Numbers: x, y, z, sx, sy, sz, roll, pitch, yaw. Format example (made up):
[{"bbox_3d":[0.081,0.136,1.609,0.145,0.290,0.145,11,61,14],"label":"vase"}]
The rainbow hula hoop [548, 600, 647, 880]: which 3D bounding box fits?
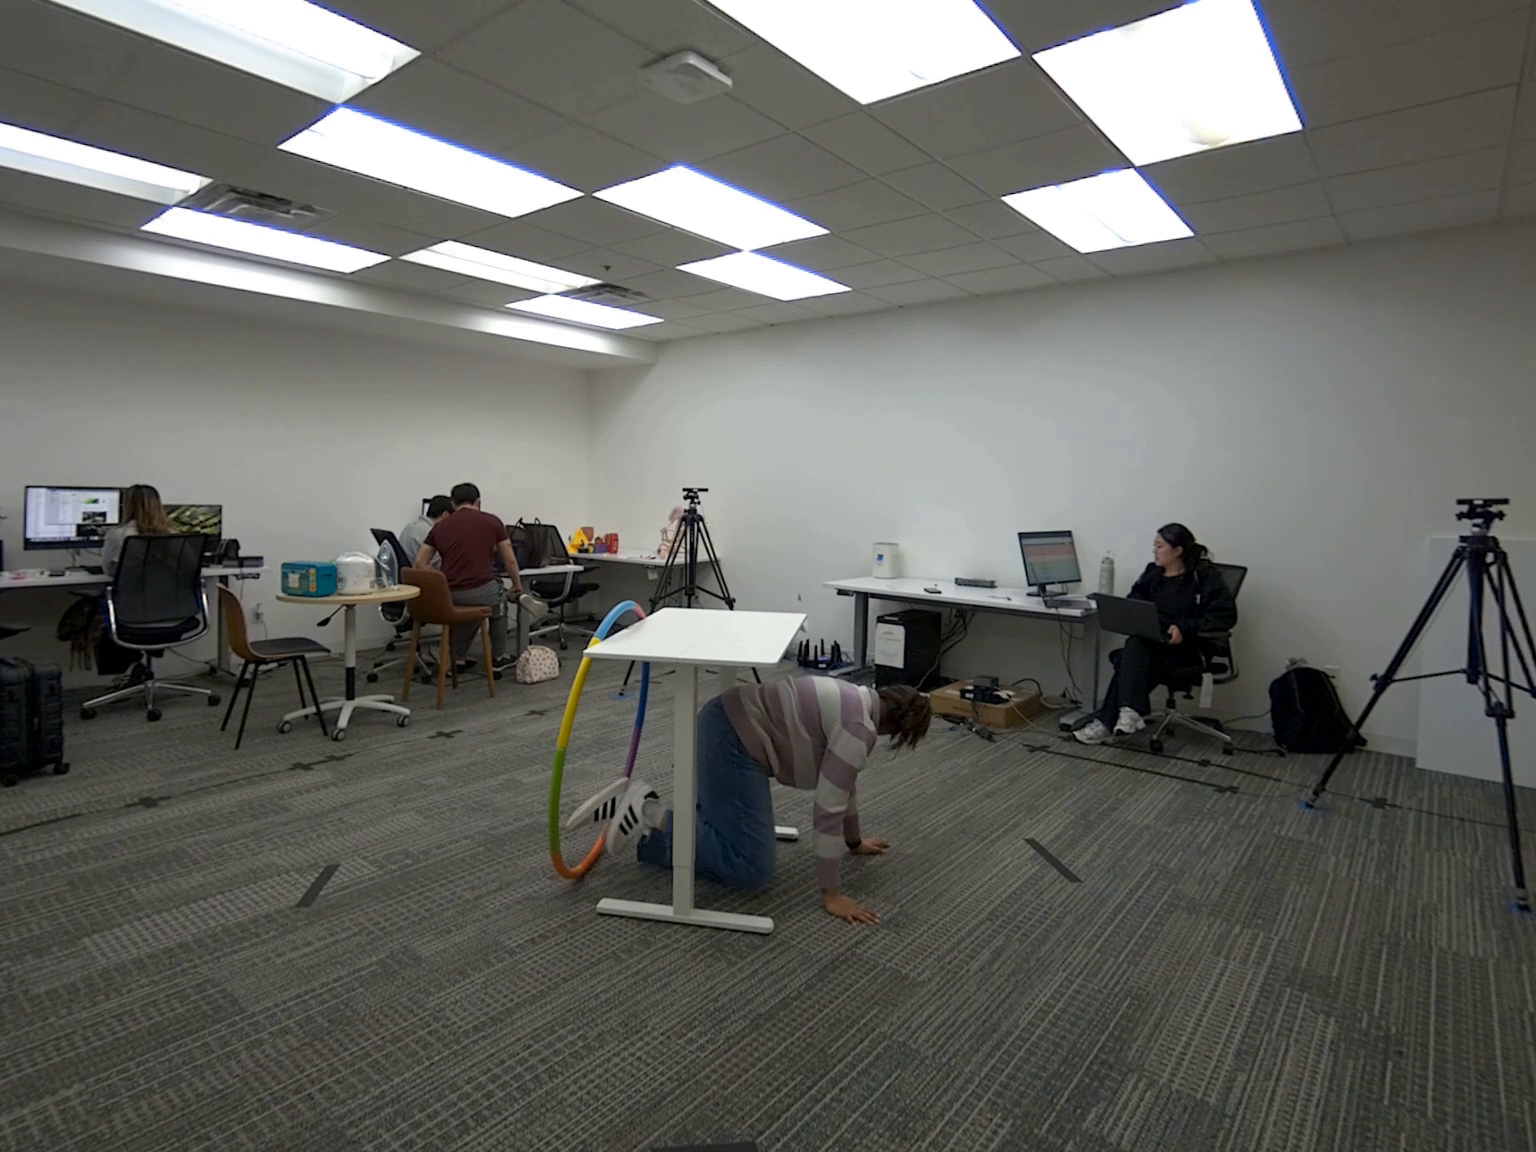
[{"bbox_3d":[-0.604,0.584,3.092,0.036,0.975,0.971,9,5,7],"label":"rainbow hula hoop"}]
